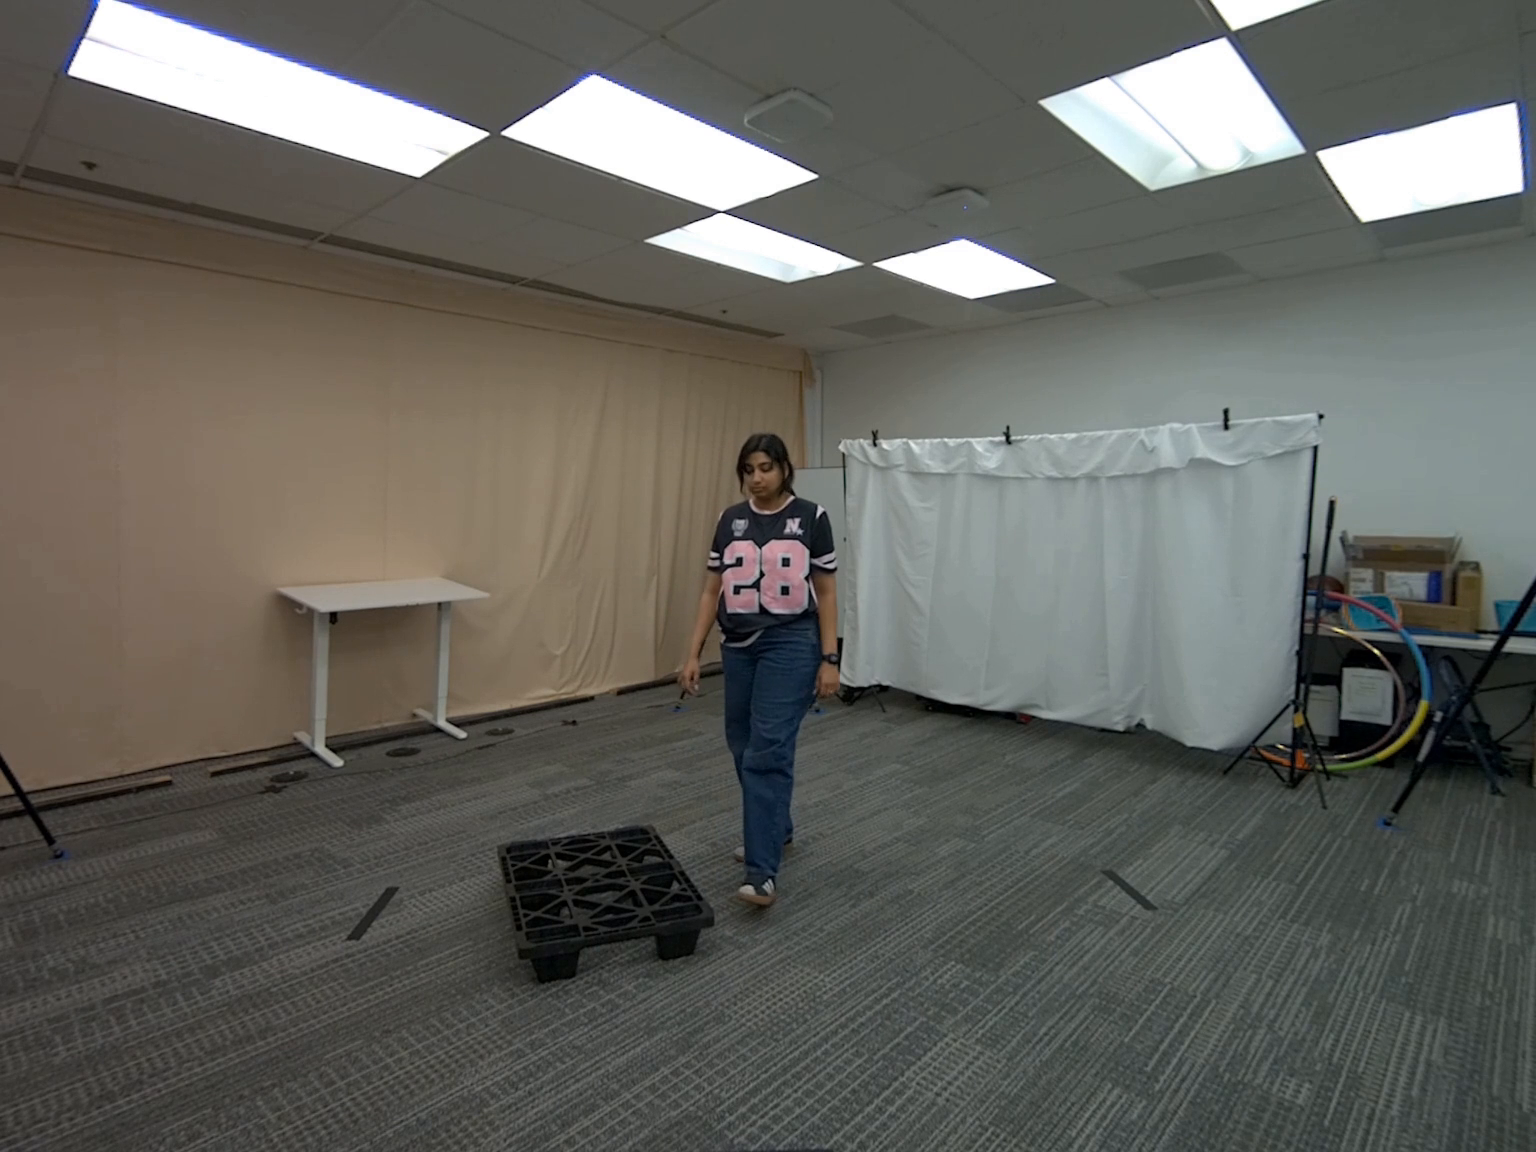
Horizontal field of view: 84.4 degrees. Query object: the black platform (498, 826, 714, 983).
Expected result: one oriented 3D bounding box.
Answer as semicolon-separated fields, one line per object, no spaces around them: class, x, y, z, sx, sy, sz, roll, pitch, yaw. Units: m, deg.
black platform;-0.585;1.090;2.875;0.593;0.143;0.824;-2;5;-21
